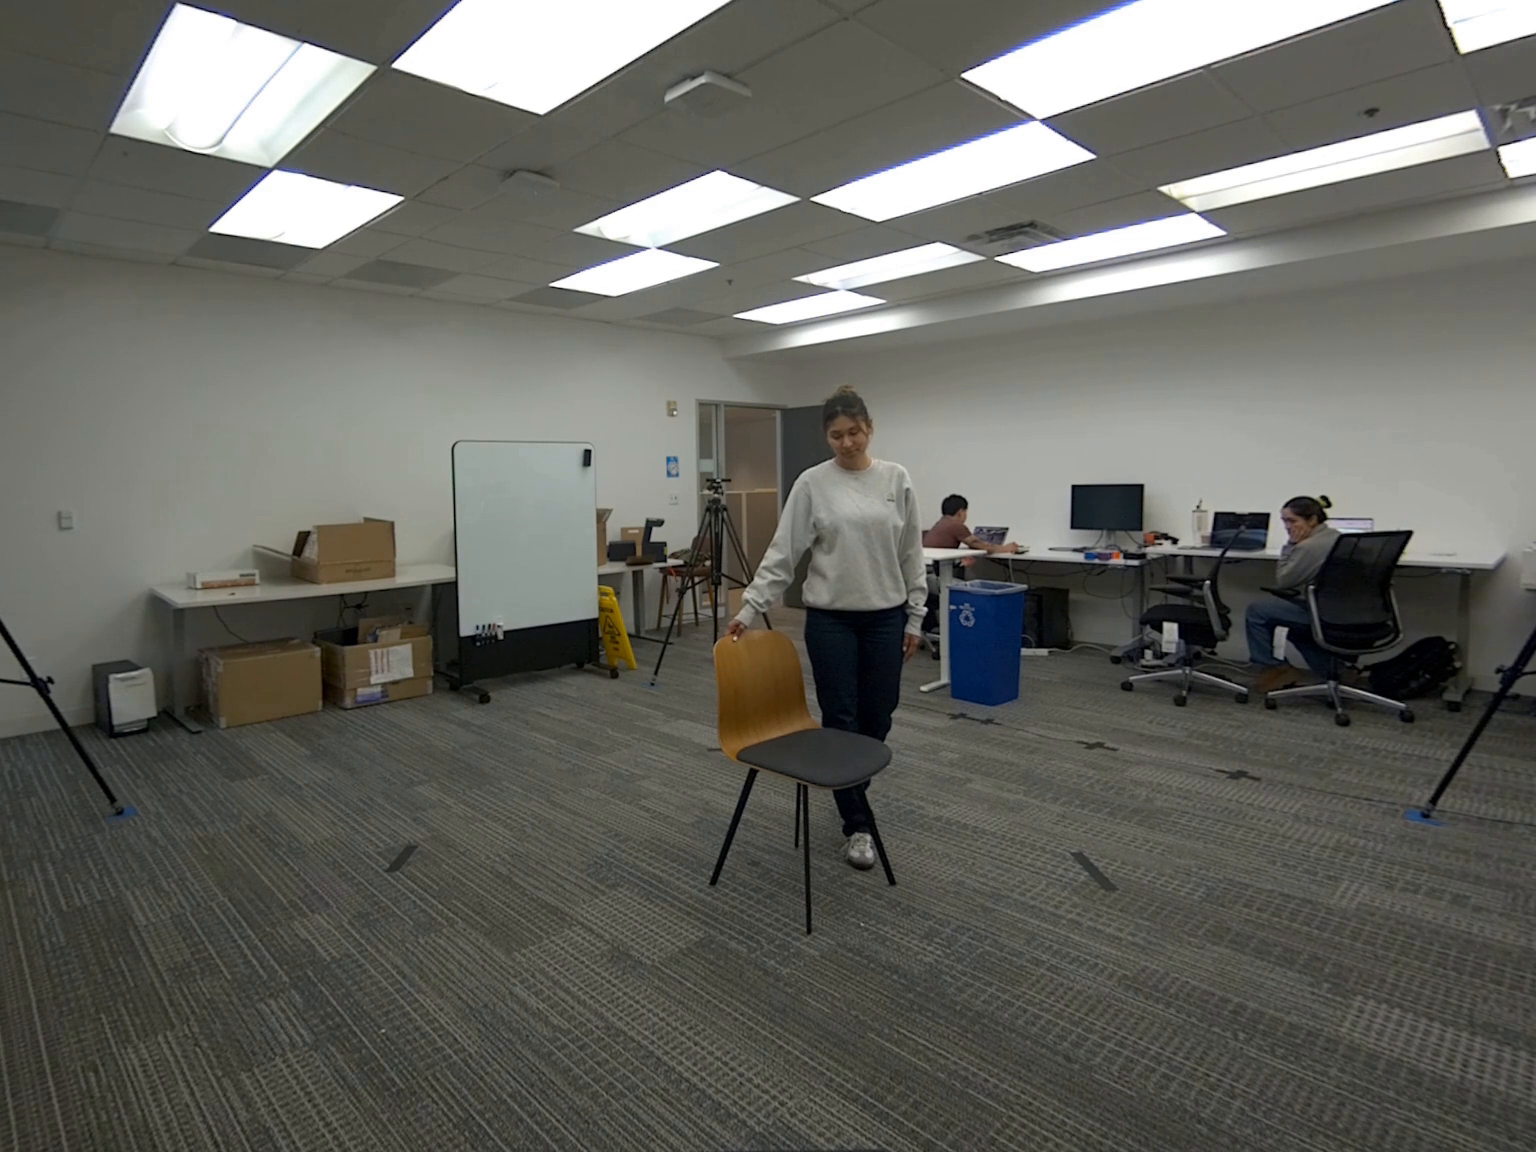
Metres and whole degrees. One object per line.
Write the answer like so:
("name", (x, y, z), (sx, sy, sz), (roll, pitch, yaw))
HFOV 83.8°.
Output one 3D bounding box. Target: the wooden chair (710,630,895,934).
("wooden chair", (0.113, 0.640, 2.891), (0.465, 0.877, 0.538), (-4, 1, -44))
